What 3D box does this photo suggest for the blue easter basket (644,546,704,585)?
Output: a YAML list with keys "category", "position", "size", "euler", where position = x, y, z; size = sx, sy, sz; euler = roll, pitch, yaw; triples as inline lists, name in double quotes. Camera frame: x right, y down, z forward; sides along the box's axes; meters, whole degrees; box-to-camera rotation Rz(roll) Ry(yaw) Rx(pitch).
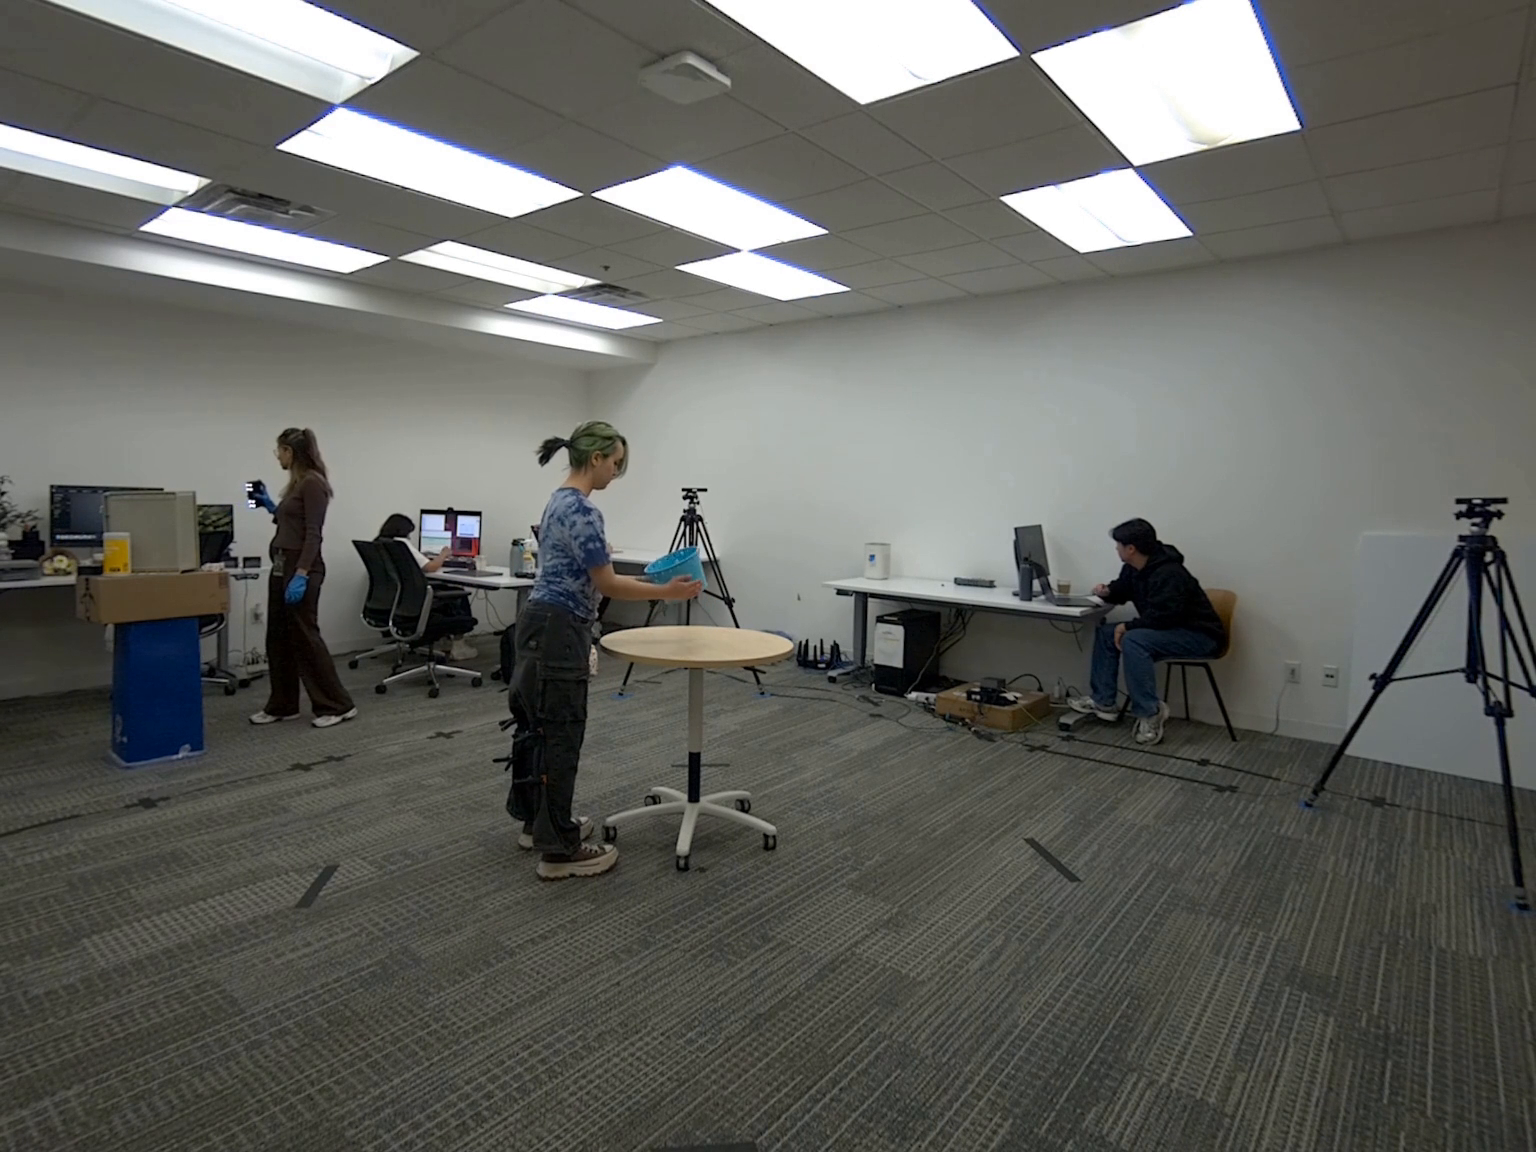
- category: "blue easter basket"
  position: [-0.368, 0.007, 3.344]
  size: [0.244, 0.153, 0.248]
  euler: [-21, 18, 5]
